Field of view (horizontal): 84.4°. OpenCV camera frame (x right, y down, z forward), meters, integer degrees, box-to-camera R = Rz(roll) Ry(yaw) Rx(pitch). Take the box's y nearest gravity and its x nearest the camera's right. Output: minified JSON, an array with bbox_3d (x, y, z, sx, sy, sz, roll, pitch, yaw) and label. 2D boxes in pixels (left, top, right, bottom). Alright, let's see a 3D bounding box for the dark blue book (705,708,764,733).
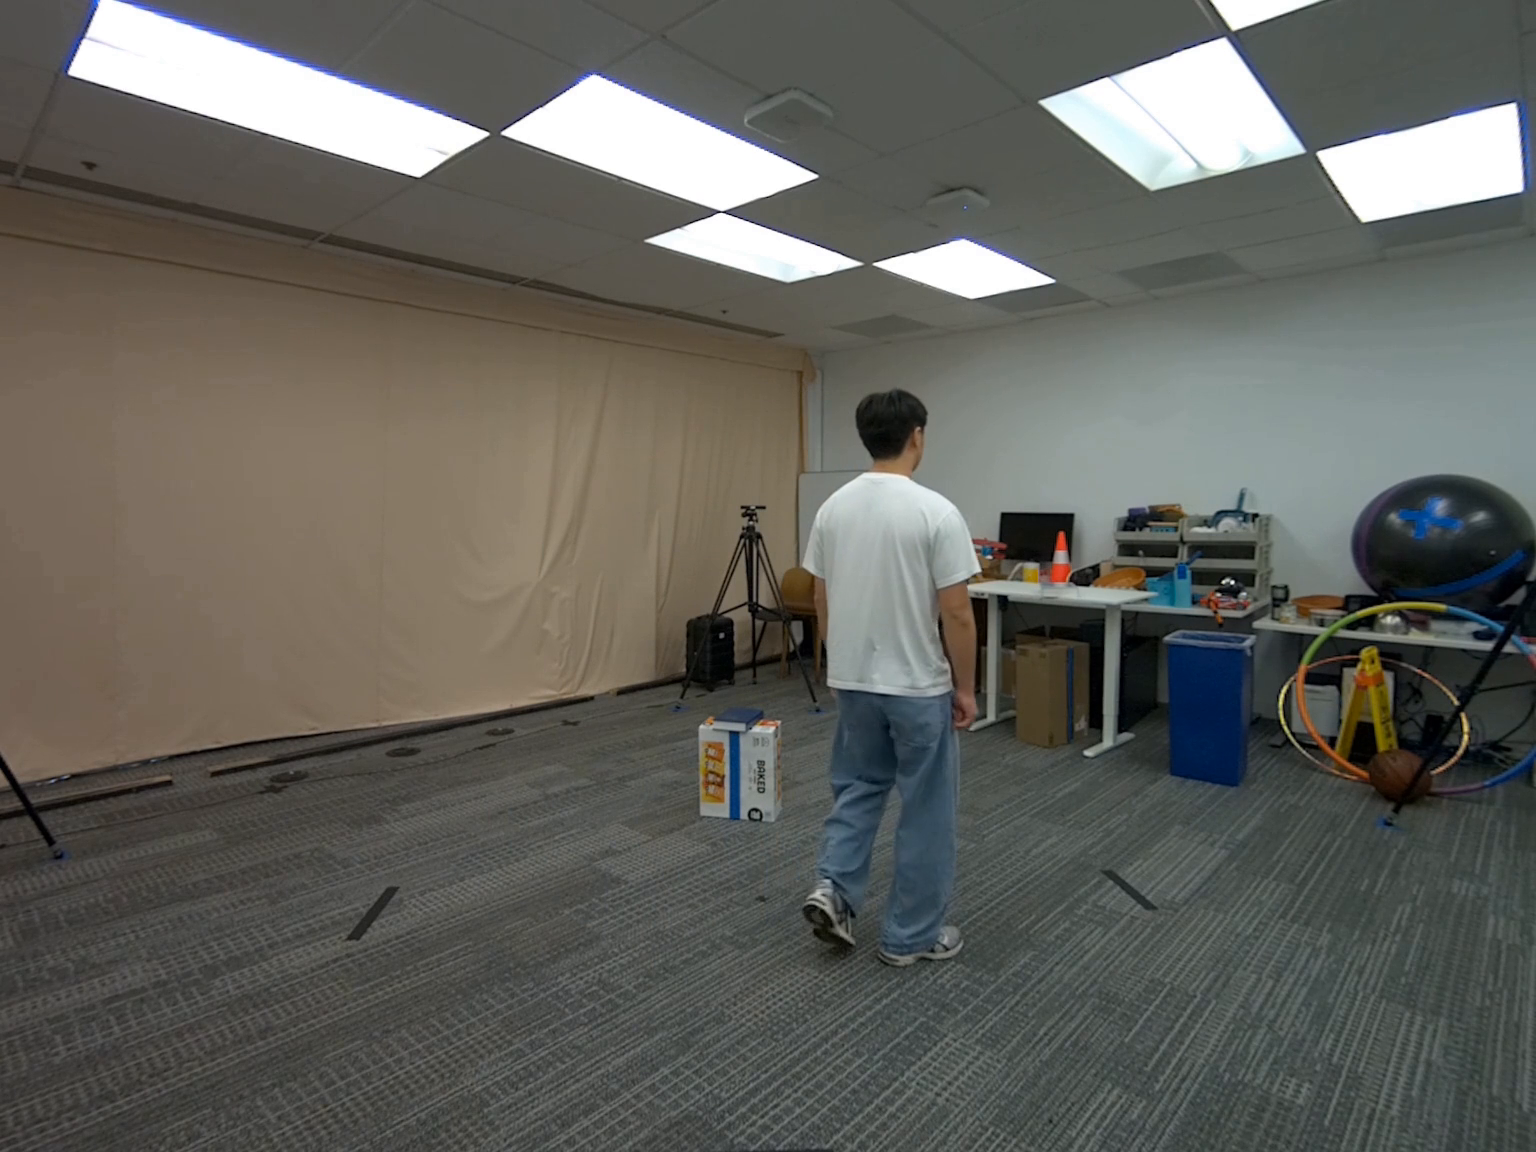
[{"bbox_3d":[-0.131,0.651,3.830,0.167,0.045,0.241,1,5,19],"label":"dark blue book"}]
